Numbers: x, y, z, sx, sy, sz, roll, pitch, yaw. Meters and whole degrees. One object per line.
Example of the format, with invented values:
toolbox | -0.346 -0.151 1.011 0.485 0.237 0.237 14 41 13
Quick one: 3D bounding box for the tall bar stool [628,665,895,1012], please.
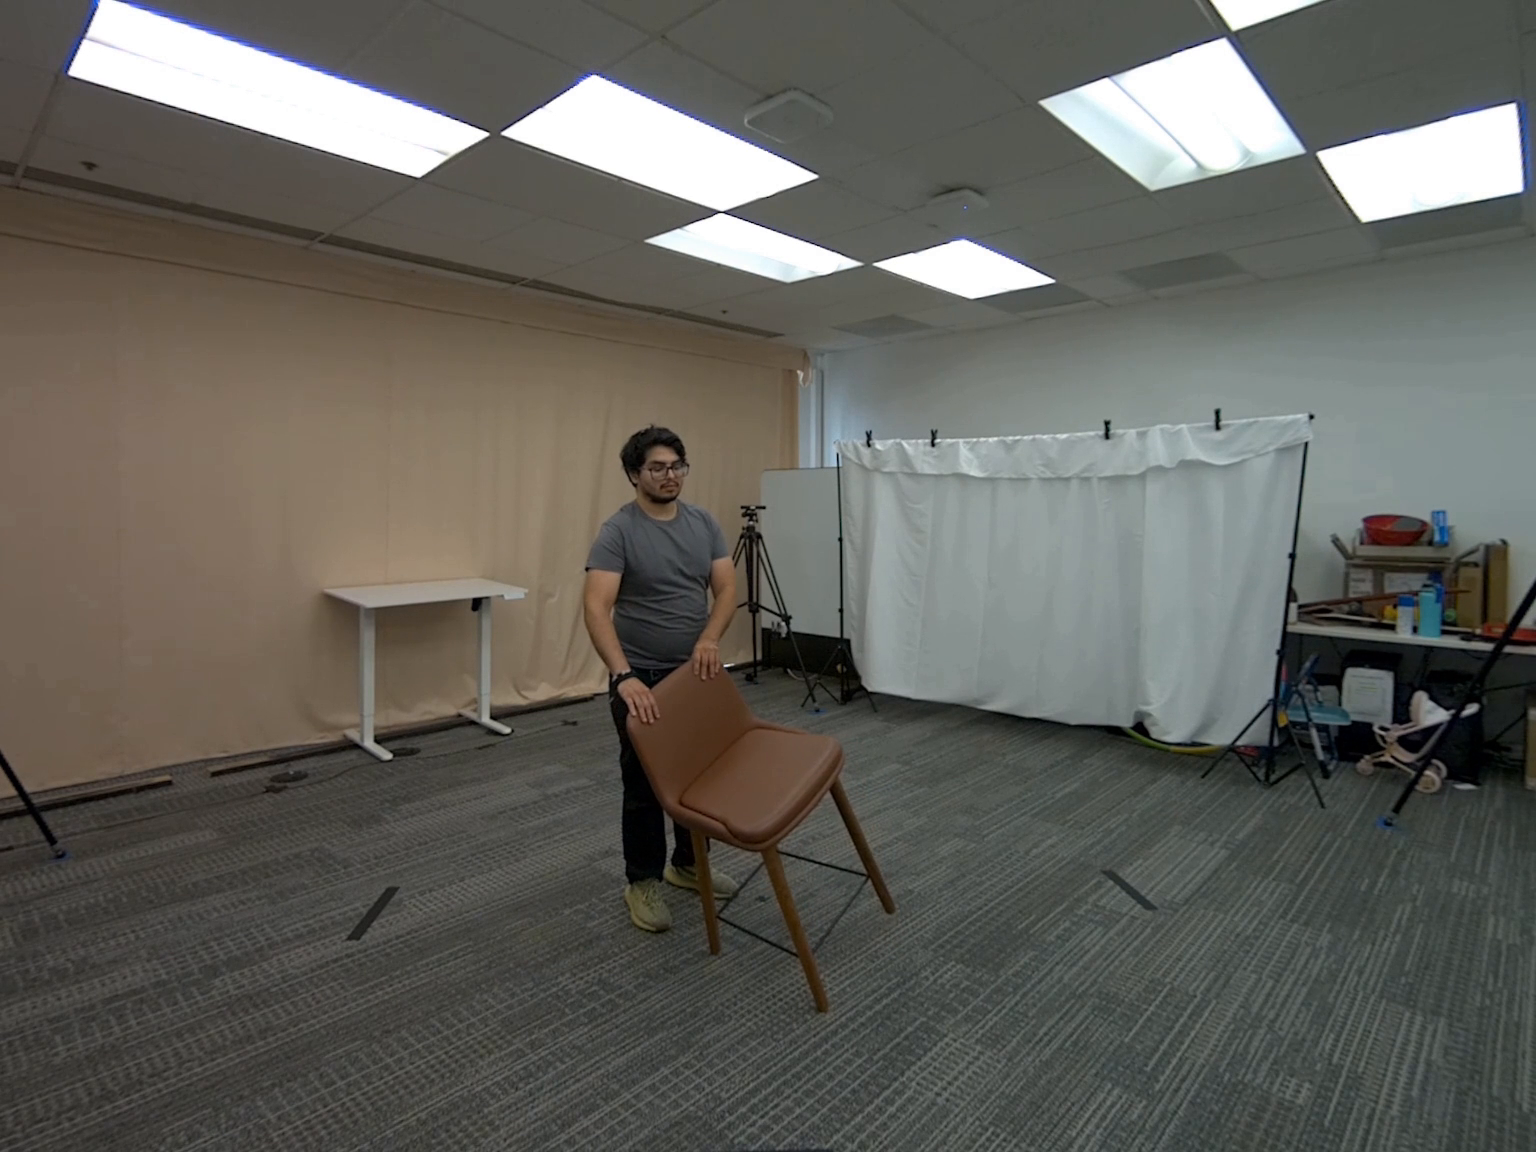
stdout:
tall bar stool | -0.013 0.714 2.461 0.482 0.876 0.449 -1 24 42
